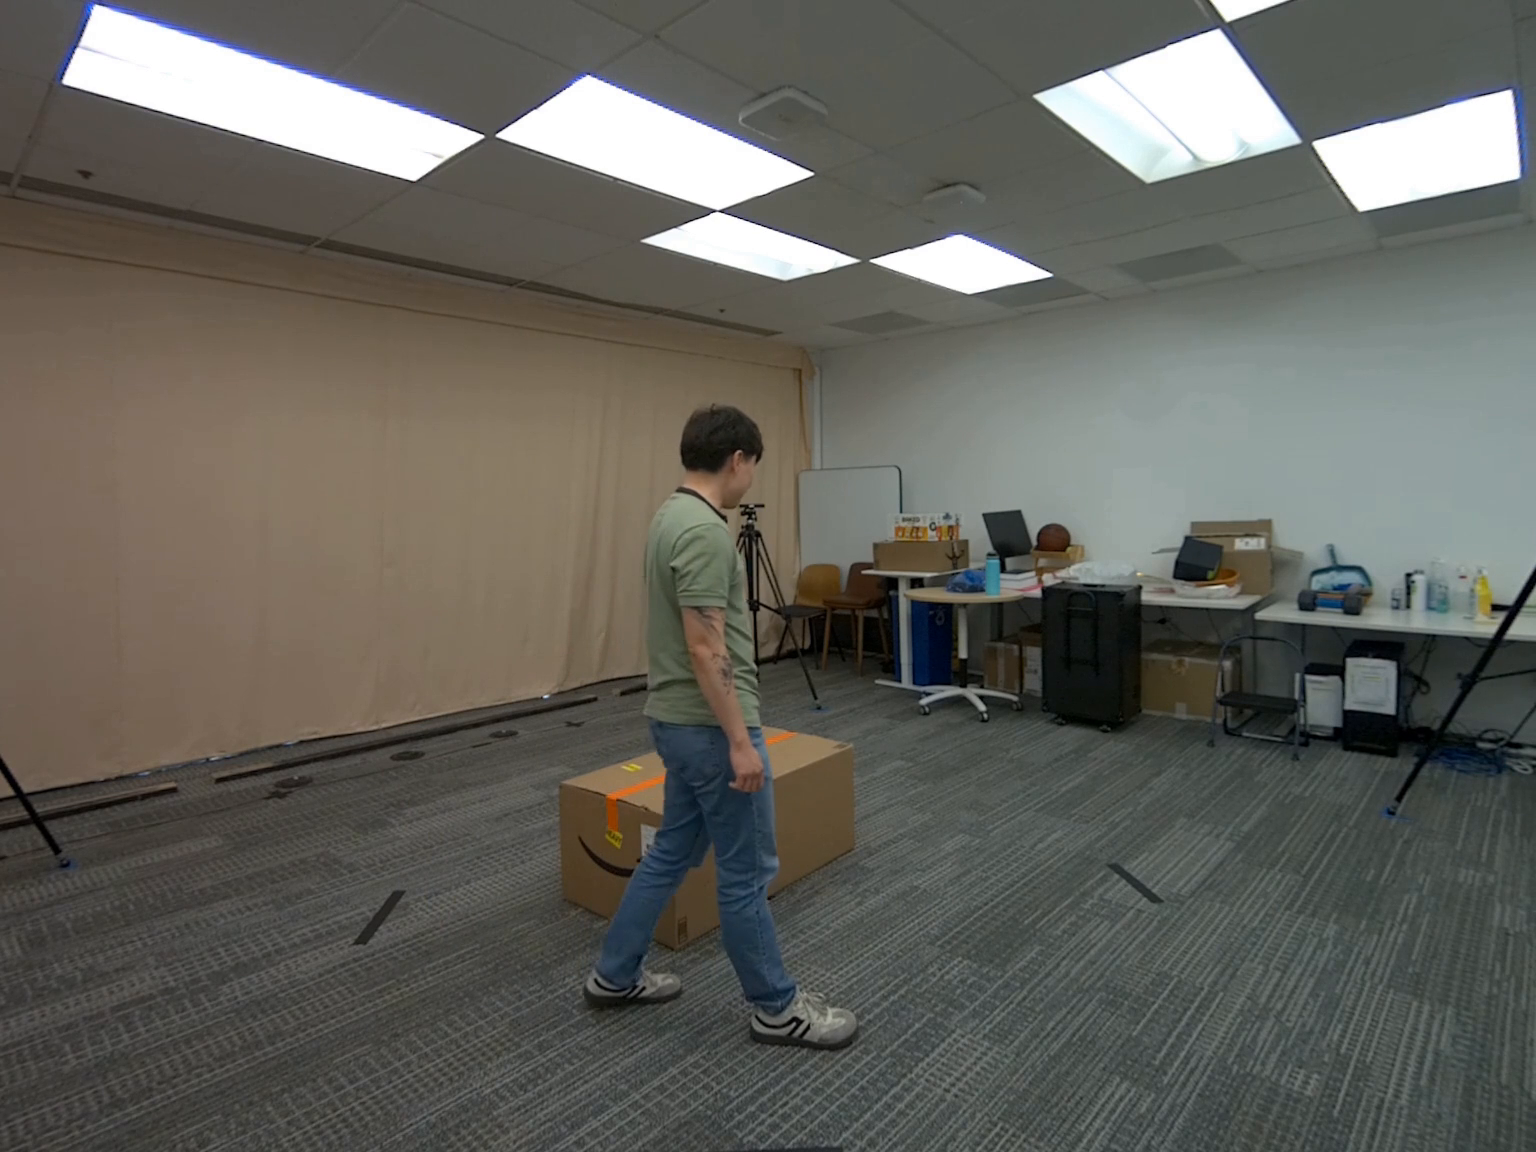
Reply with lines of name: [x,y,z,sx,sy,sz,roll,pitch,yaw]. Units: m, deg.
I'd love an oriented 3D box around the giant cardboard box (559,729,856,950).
giant cardboard box: [-0.193,0.912,3.185,0.596,0.425,0.995,2,6,40]
